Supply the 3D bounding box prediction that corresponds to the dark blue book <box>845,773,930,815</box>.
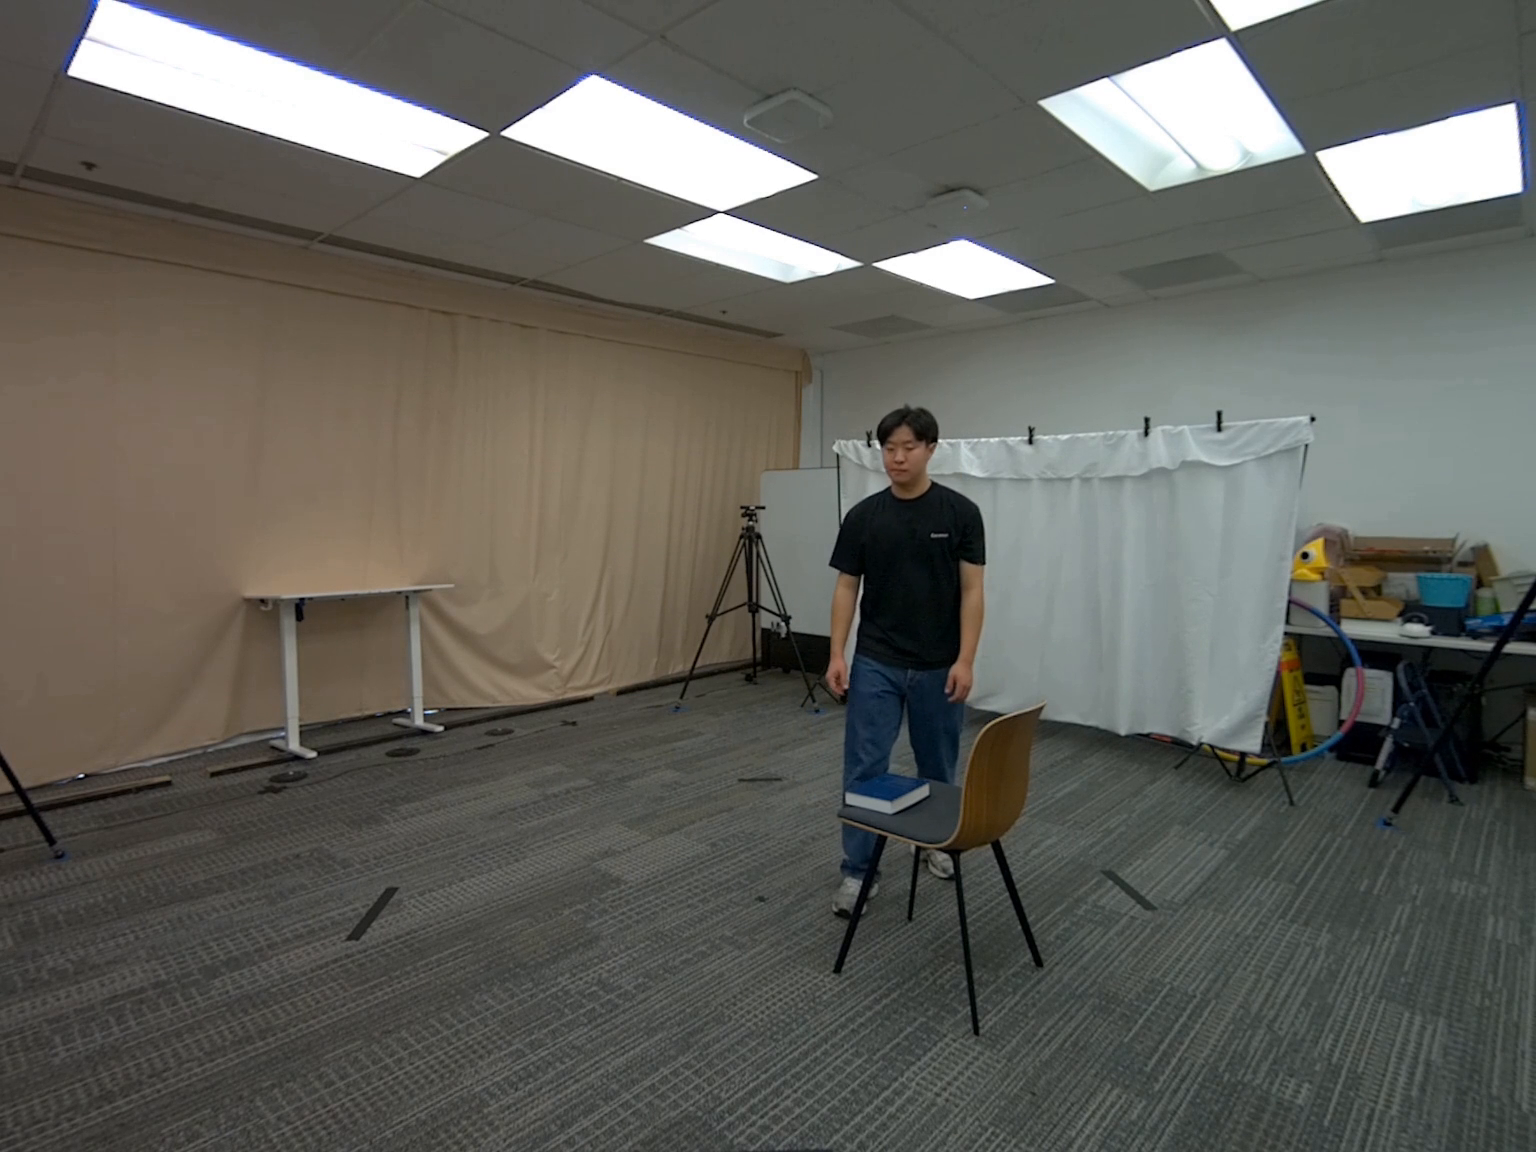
[{"bbox_3d":[0.378,0.669,2.593,0.169,0.045,0.237,1,3,41],"label":"dark blue book"}]
